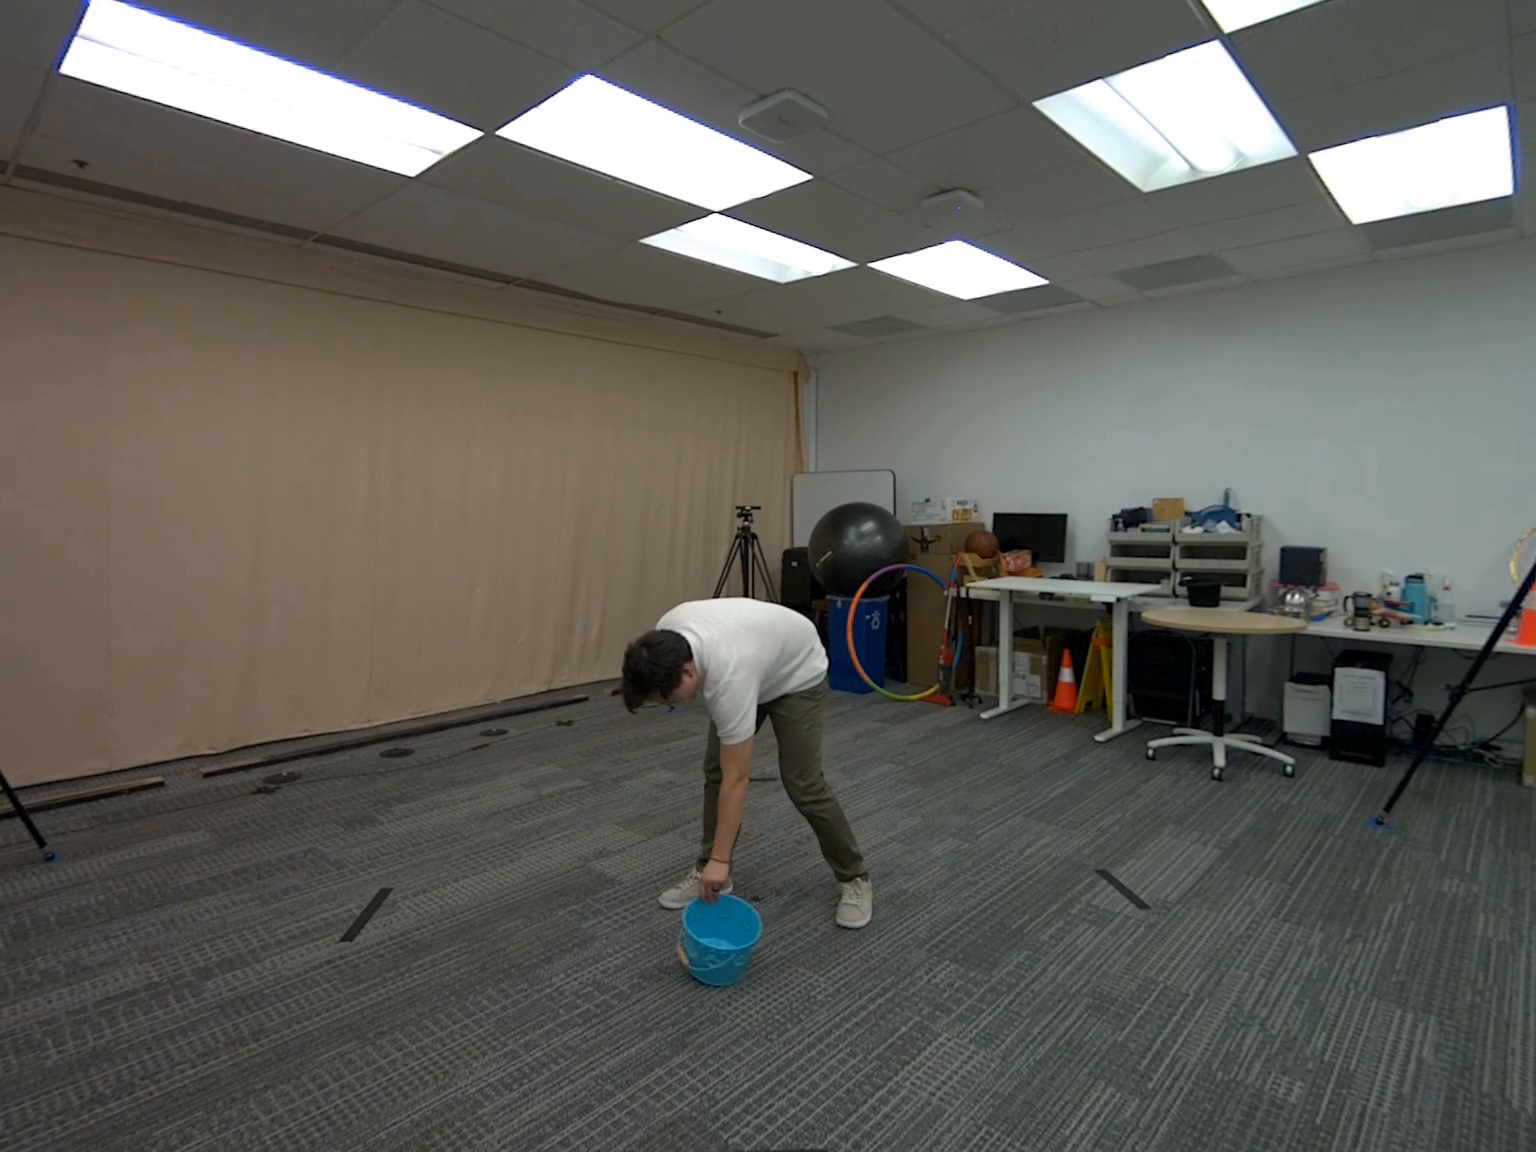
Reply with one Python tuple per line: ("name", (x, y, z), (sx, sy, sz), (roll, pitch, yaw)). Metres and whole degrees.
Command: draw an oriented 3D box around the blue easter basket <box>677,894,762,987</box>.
("blue easter basket", (-0.126, 1.087, 2.509), (0.243, 0.155, 0.246), (8, 17, -4))
